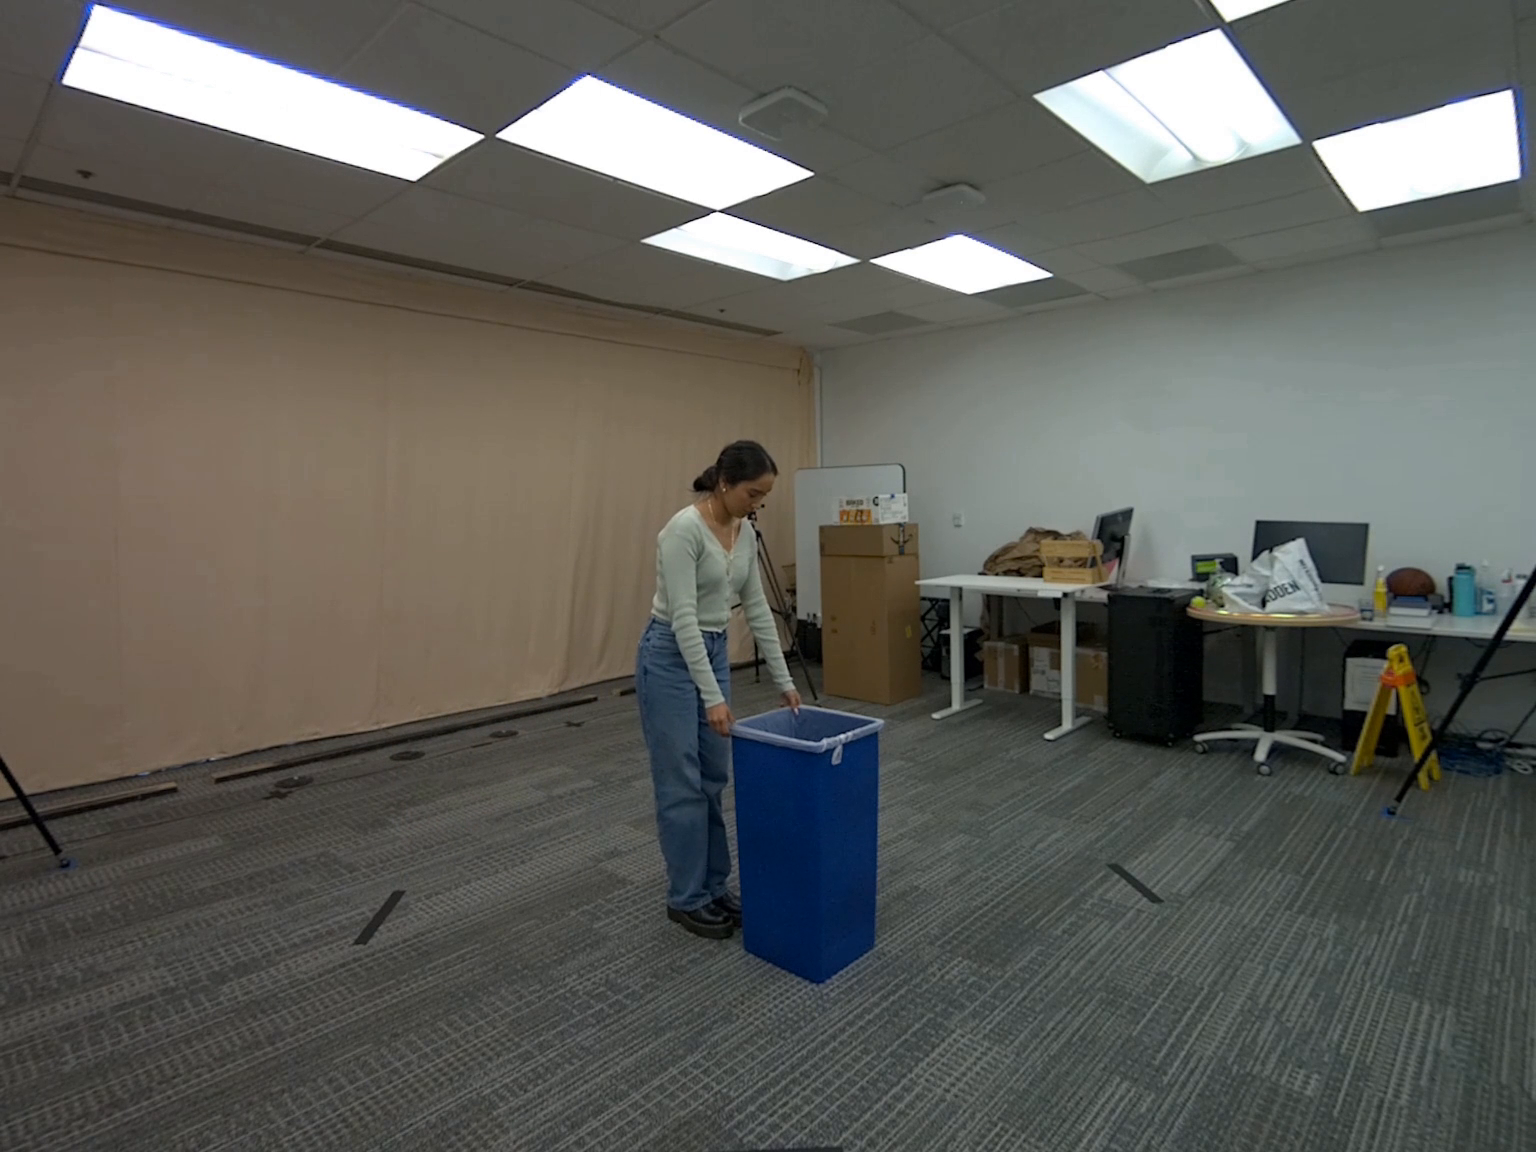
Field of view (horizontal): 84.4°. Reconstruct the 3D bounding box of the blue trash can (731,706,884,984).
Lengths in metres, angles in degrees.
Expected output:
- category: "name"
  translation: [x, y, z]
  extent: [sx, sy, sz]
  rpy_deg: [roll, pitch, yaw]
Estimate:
- category: "blue trash can"
  translation: [0.118, 0.810, 2.625]
  extent: [0.386, 0.712, 0.366]
  rpy_deg: [2, 4, 41]
